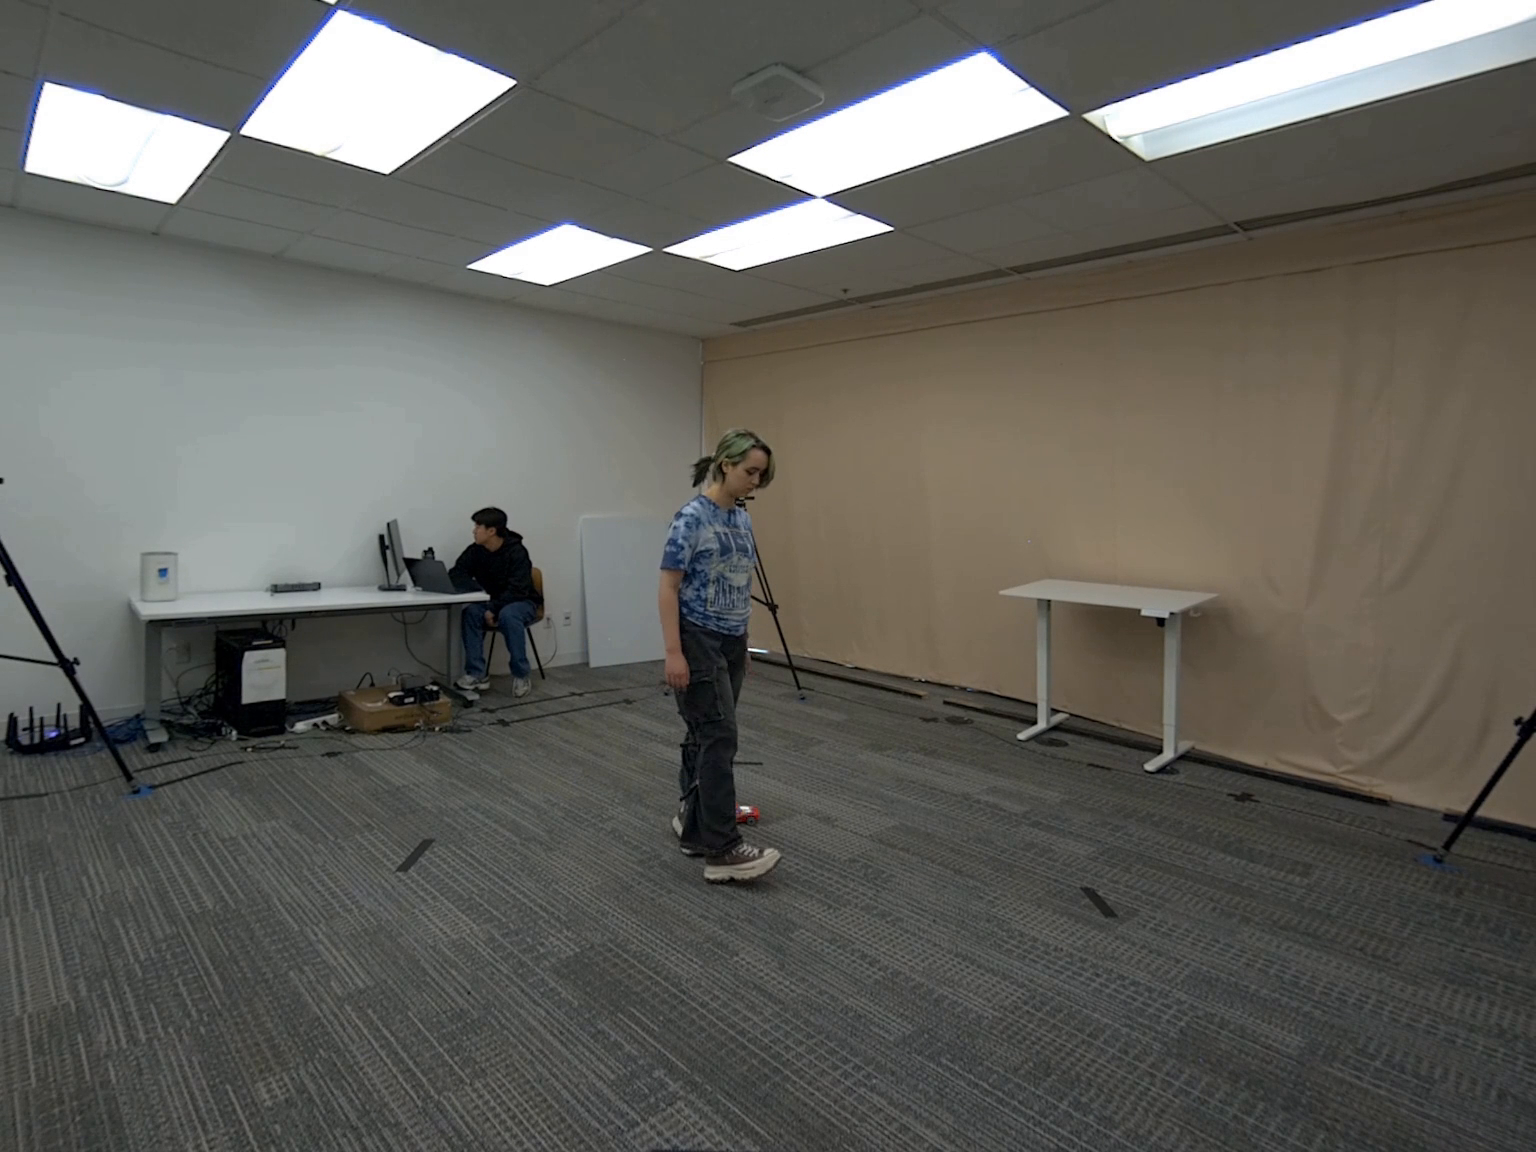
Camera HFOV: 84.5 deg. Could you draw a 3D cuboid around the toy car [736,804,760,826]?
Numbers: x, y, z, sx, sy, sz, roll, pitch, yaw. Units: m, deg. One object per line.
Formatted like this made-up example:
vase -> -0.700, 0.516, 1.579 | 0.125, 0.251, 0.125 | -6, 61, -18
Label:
toy car -> -0.179, 1.030, 3.638 | 0.254, 0.083, 0.131 | 12, 4, -2
